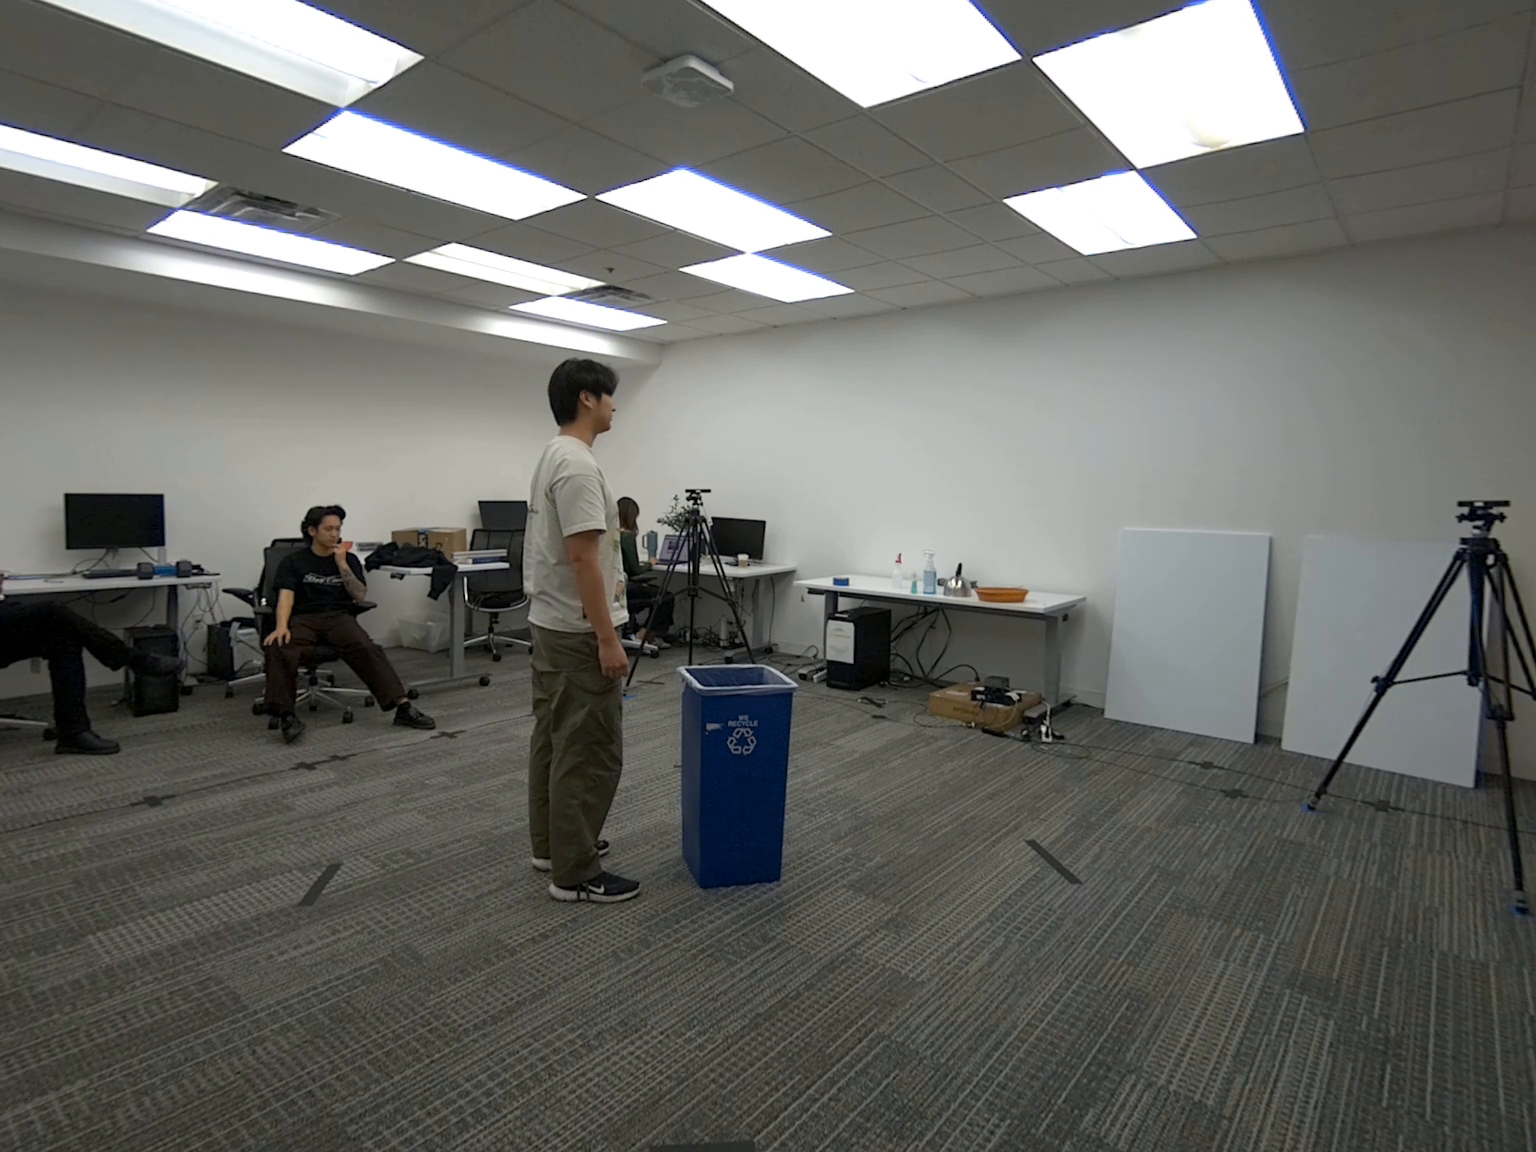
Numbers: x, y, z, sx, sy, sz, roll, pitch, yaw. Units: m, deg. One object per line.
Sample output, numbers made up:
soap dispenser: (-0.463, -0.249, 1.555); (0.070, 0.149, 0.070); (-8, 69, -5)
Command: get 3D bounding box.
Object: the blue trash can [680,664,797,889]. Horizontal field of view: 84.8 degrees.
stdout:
blue trash can: (-0.137, 0.718, 3.122); (0.368, 0.711, 0.386); (0, 4, -17)
